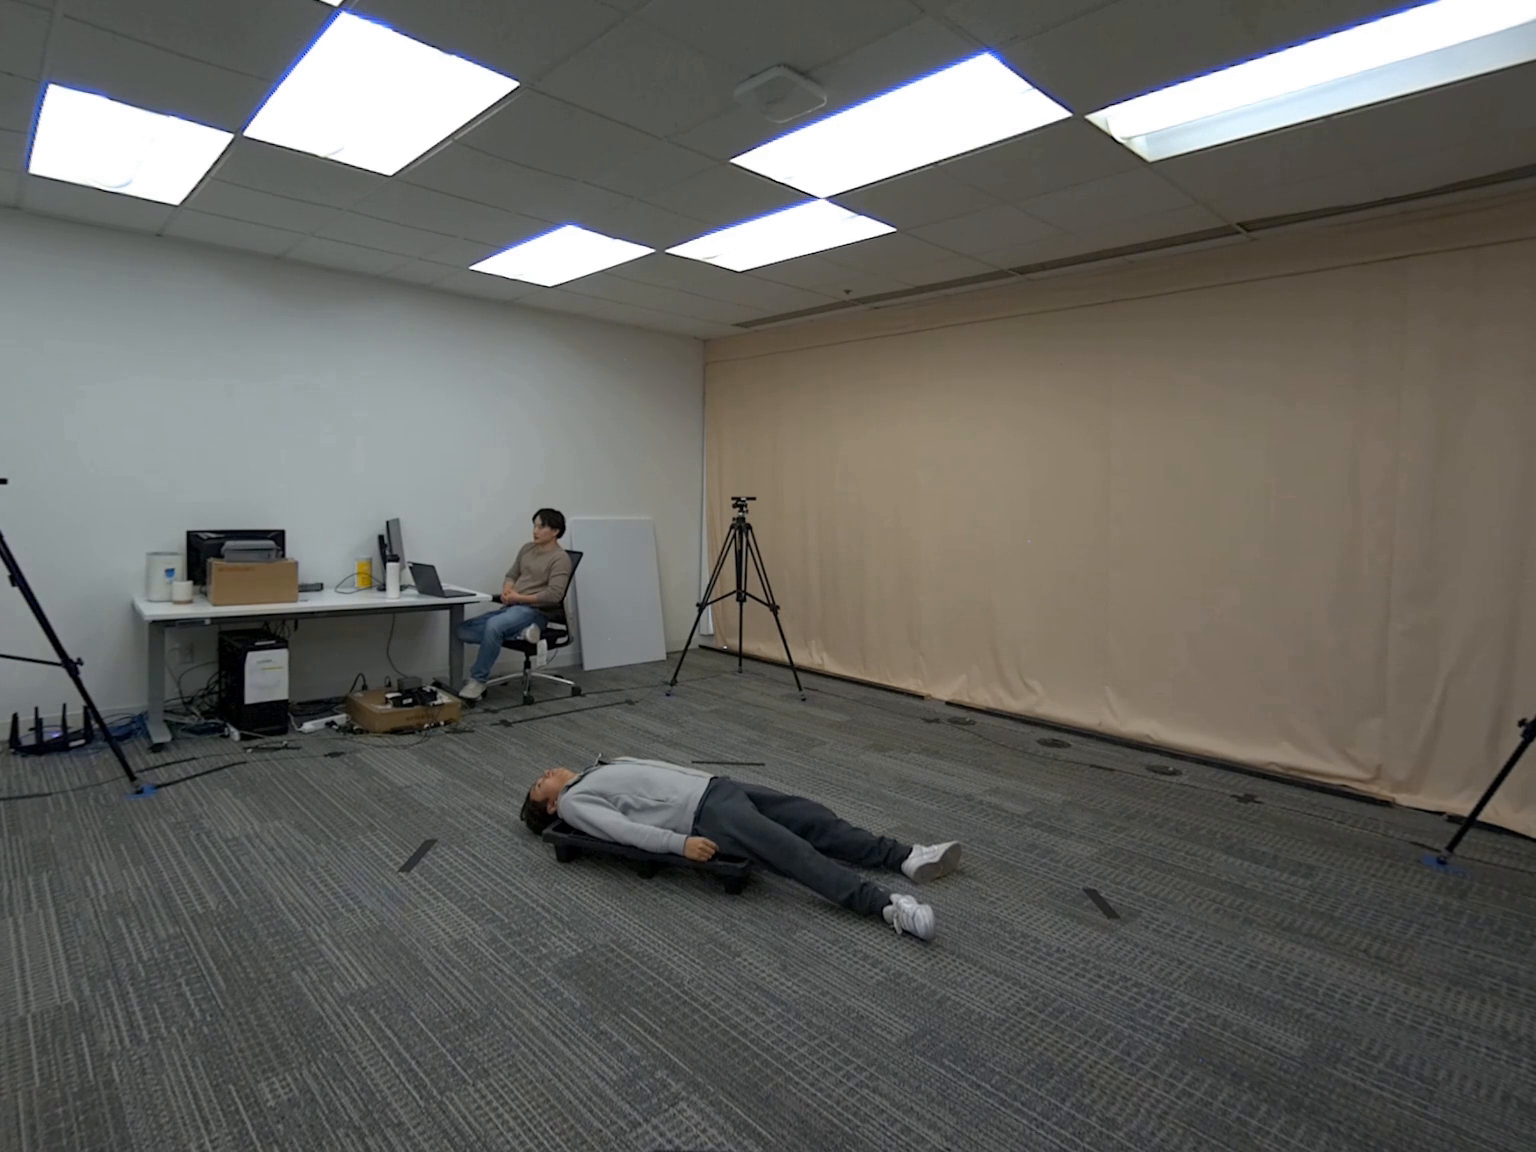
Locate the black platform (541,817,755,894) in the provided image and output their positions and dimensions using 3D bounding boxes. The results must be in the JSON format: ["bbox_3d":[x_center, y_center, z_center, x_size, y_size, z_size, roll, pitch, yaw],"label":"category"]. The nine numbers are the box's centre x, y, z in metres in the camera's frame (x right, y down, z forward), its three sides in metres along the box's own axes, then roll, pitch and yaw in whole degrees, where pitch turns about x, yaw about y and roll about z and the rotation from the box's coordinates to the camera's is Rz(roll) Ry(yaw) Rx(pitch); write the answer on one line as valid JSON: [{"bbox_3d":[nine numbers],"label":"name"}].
[{"bbox_3d":[-0.390,1.001,3.288,0.819,0.142,0.598,2,9,20],"label":"black platform"}]
